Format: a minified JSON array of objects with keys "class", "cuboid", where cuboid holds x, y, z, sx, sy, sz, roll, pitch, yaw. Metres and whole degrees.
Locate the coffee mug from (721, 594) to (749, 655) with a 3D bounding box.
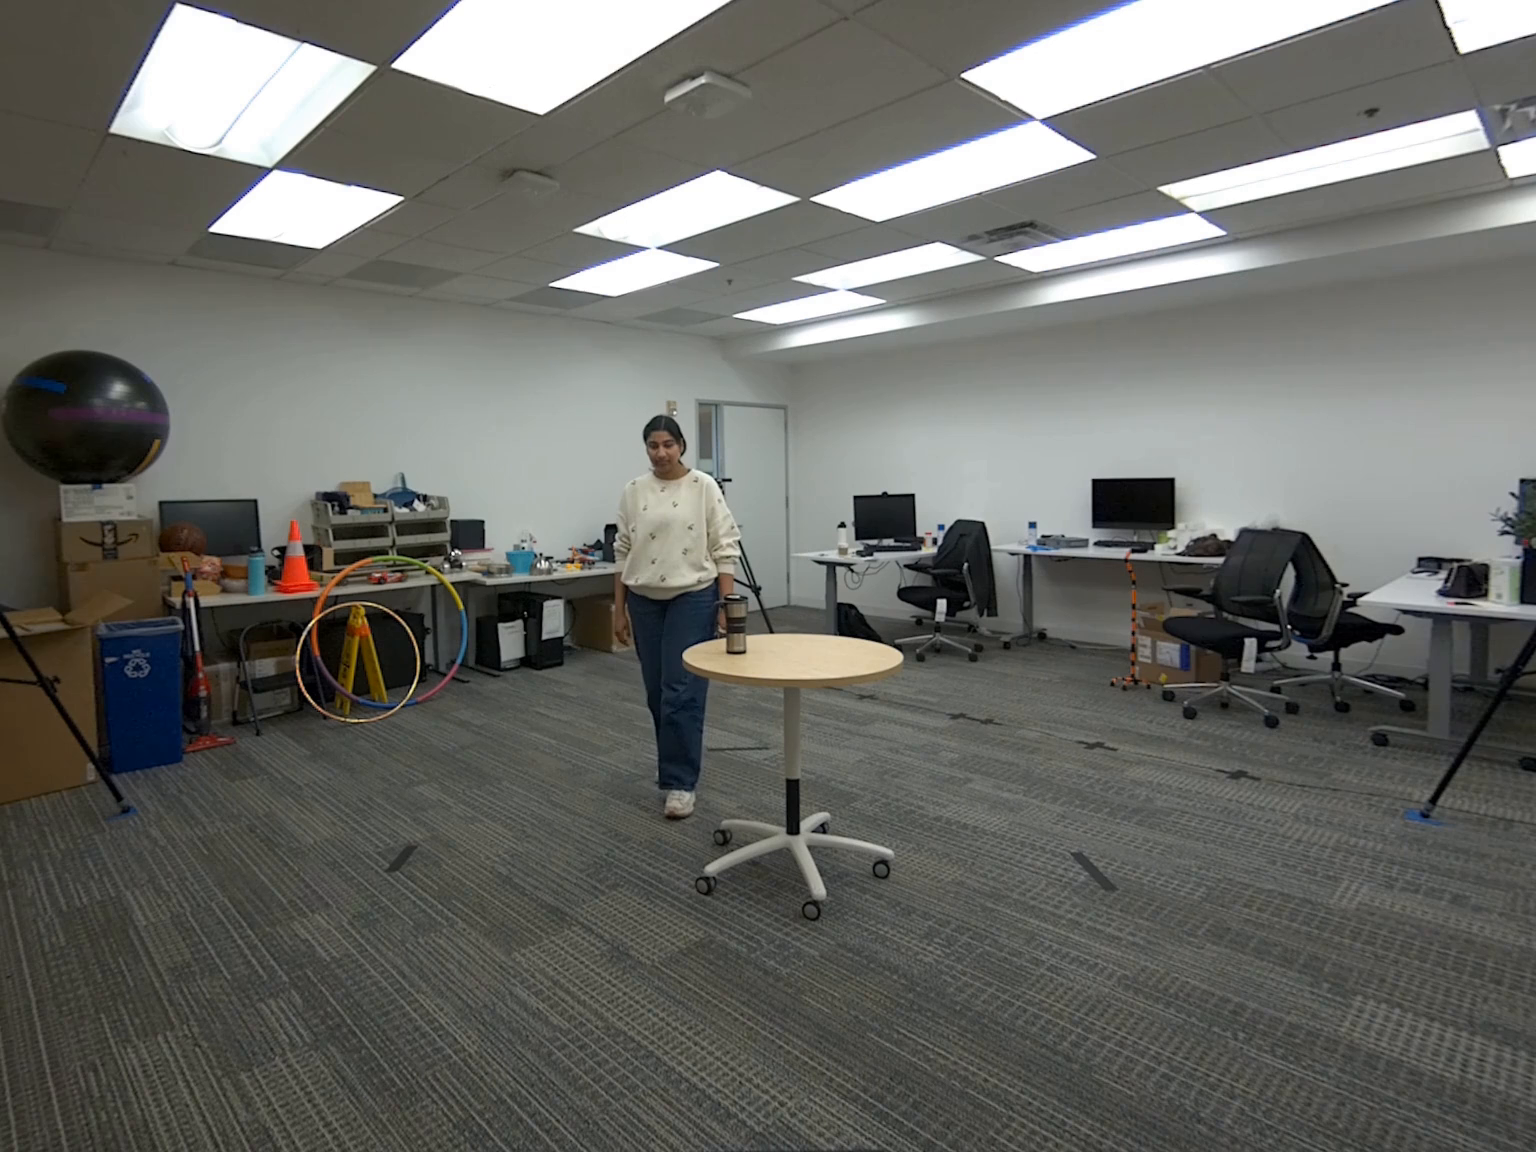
[{"class":"coffee mug","cuboid":[-0.139,0.174,3.021,0.124,0.202,0.087,1,6,19]}]
